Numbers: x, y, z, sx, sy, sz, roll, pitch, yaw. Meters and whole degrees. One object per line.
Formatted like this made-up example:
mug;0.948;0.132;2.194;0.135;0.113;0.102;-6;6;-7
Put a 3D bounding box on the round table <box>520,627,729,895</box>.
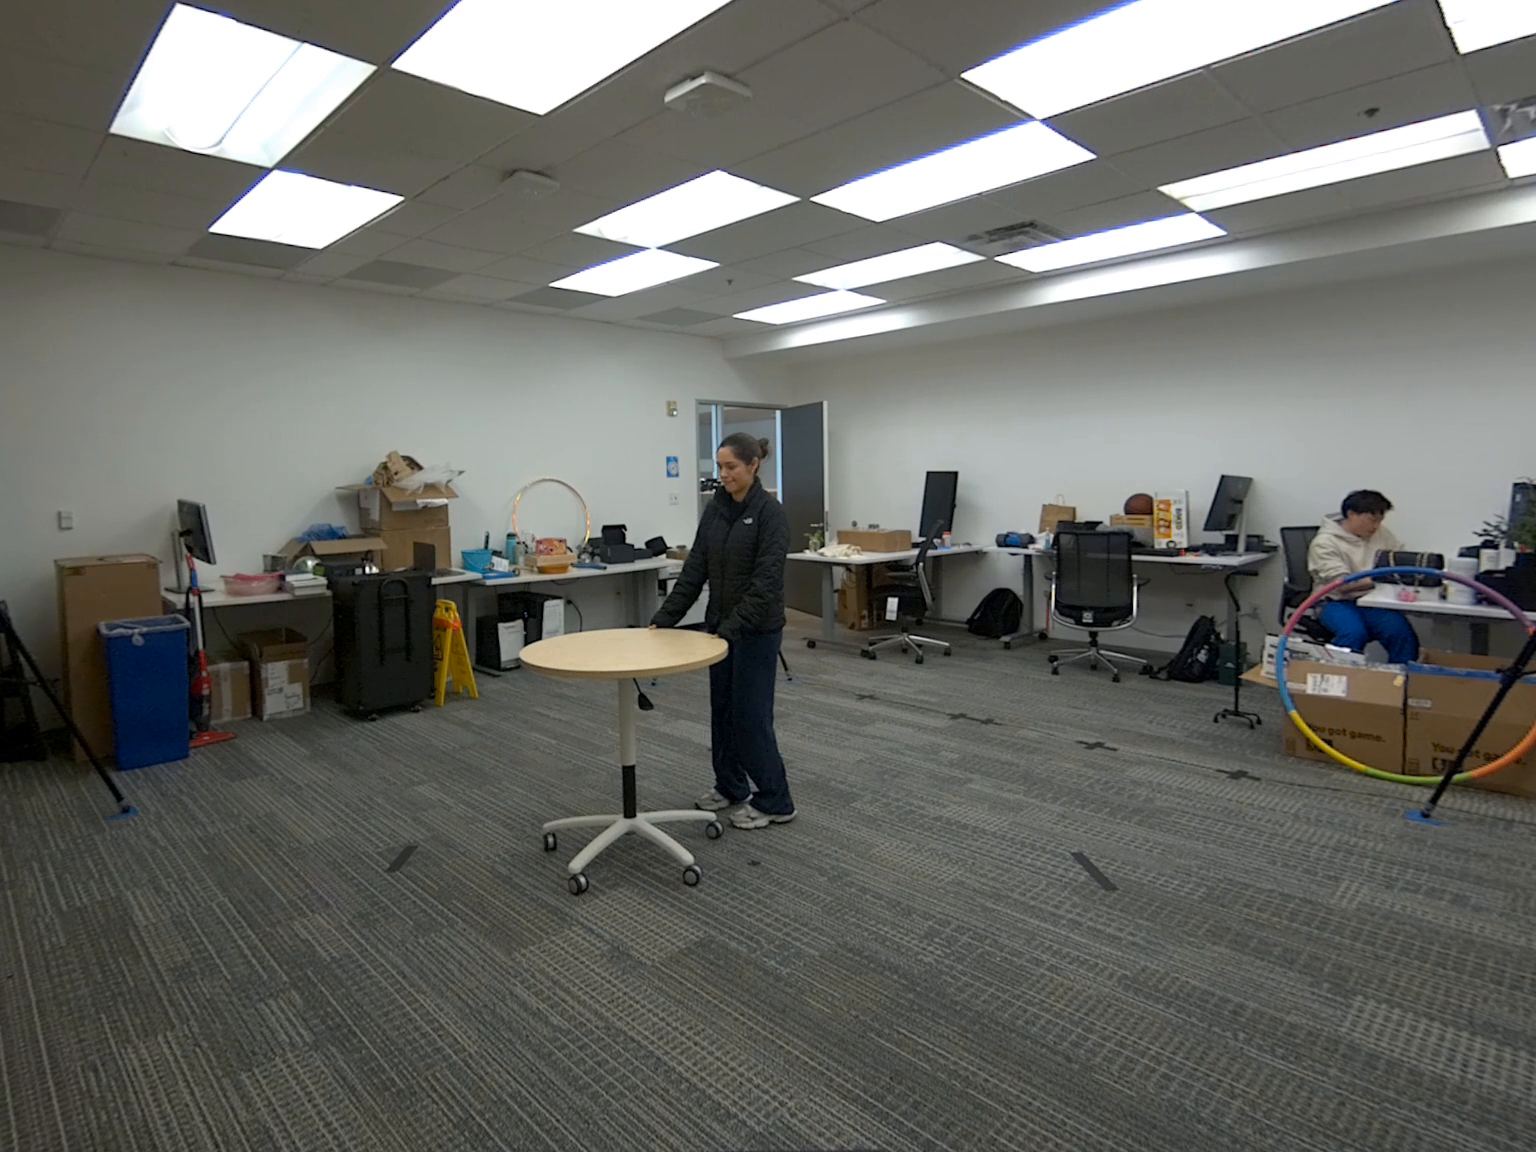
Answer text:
round table;-0.508;0.649;3.194;0.785;0.783;0.789;-2;5;-1
